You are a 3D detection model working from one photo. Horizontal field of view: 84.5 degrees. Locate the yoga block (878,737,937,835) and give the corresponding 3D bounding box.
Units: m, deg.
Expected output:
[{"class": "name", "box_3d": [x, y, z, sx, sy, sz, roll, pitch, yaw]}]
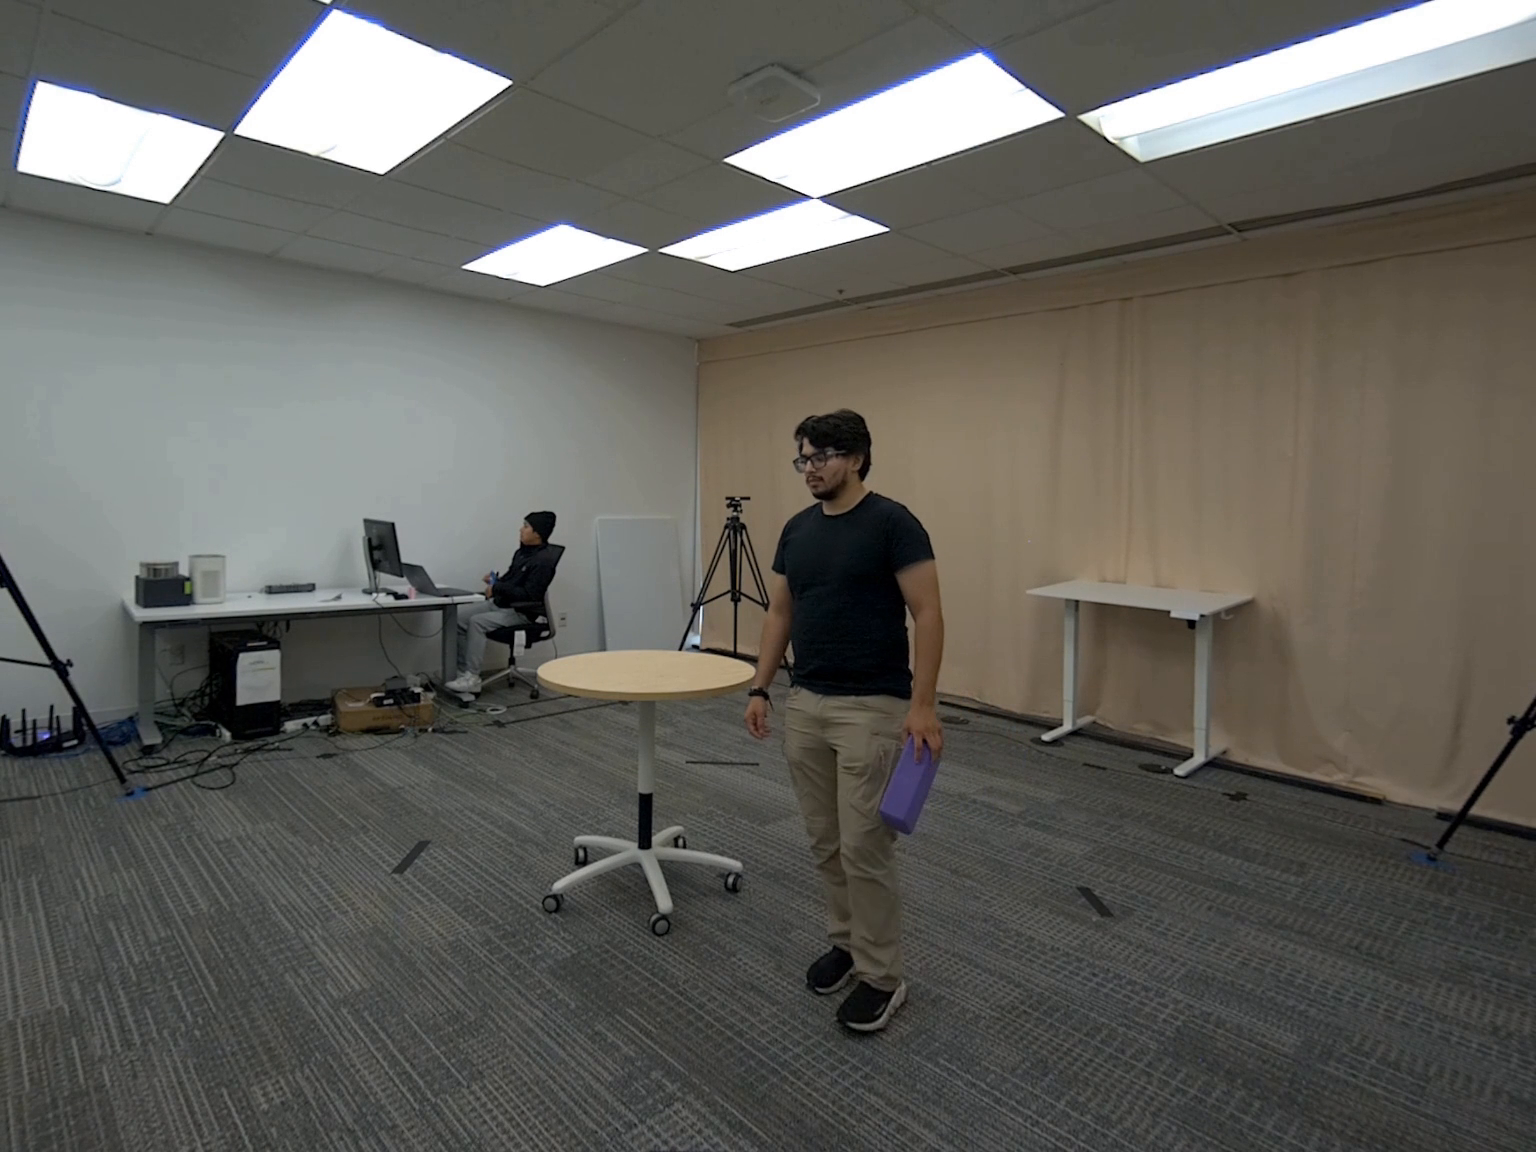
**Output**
[{"class": "yoga block", "box_3d": [0.367, 0.540, 2.164, 0.078, 0.231, 0.145, 12, -24, 23]}]
